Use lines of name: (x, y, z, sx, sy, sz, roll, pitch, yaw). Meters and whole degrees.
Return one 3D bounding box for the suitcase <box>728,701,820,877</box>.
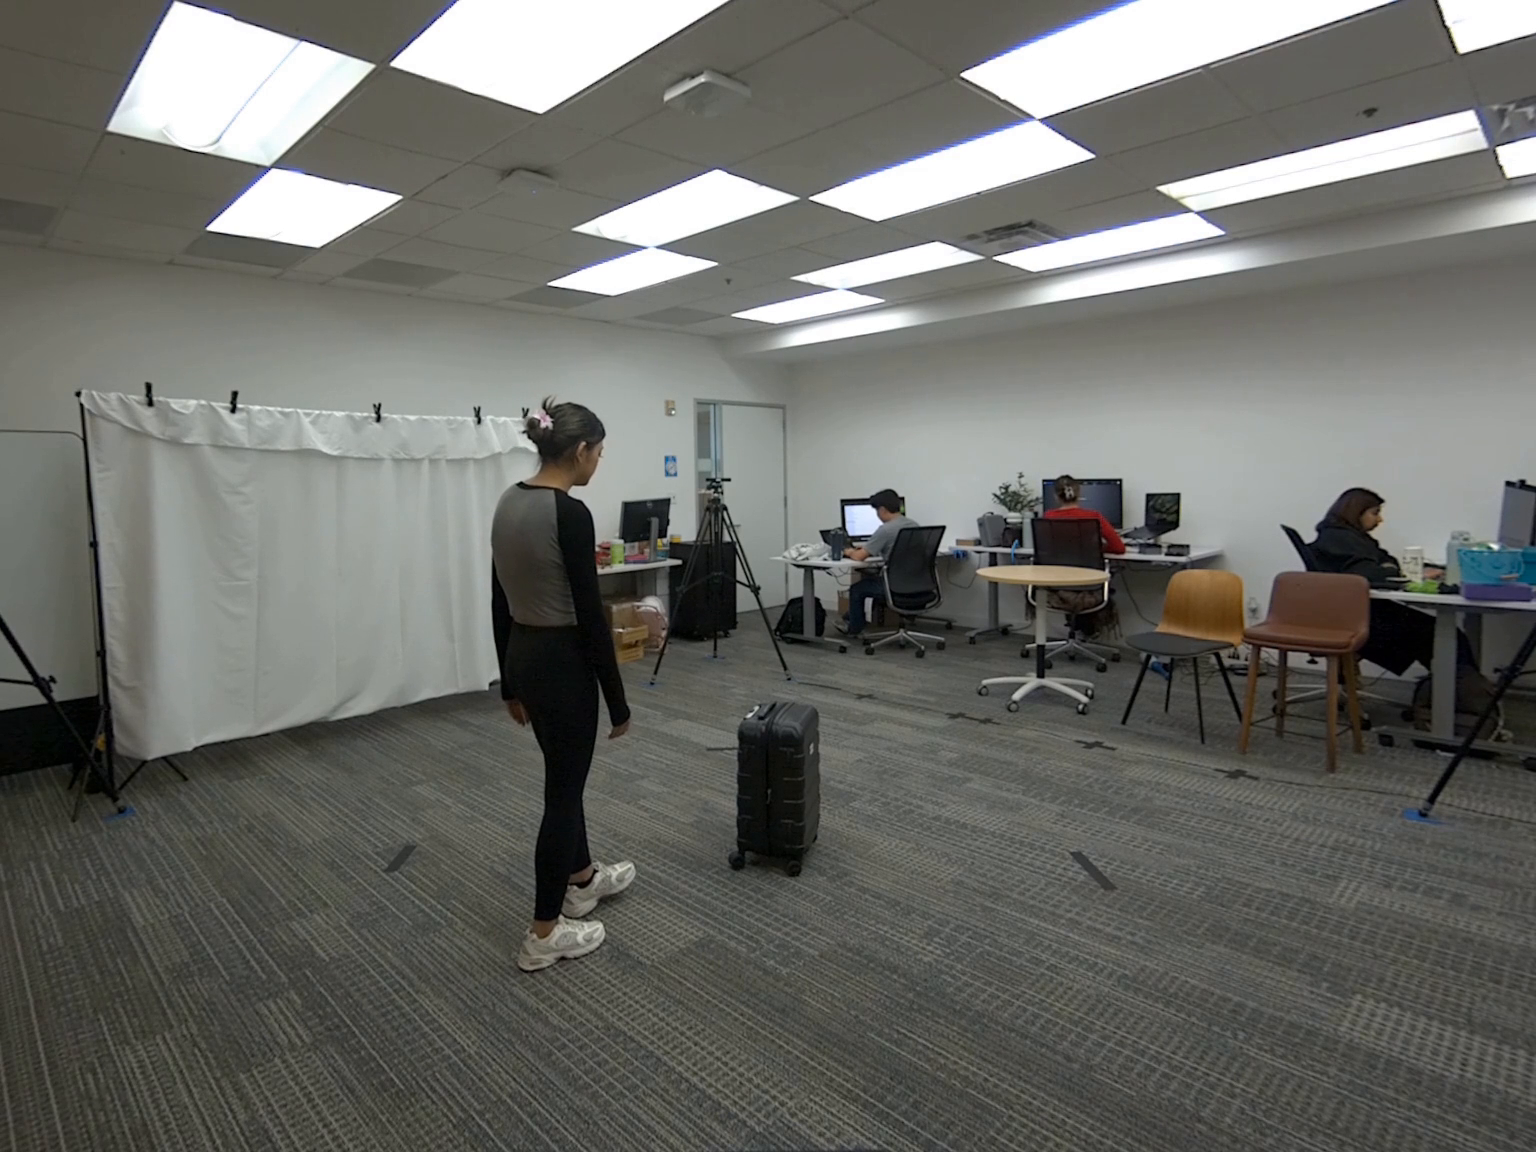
suitcase: (0.045, 0.758, 3.168, 0.253, 0.547, 0.370, 2, 4, 17)
